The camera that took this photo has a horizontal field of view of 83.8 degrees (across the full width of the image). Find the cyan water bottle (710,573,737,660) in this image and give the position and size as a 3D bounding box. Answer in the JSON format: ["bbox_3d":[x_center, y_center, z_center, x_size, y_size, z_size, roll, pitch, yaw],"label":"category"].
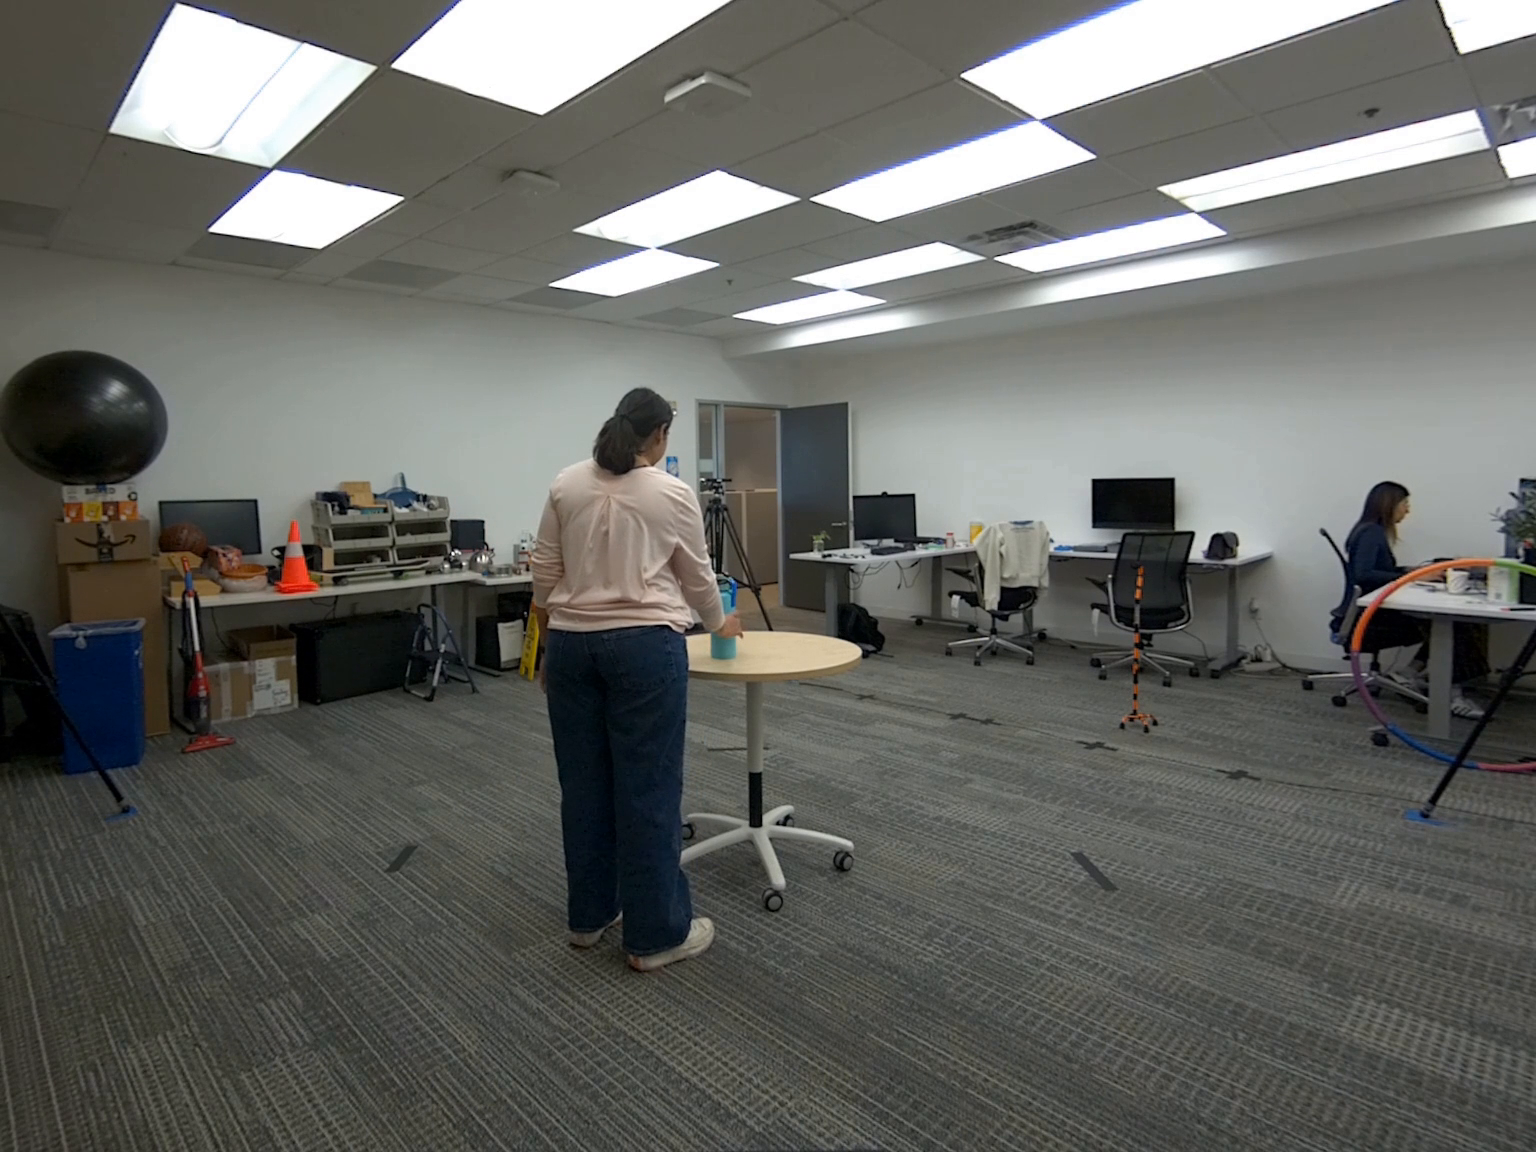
[{"bbox_3d":[-0.151,0.137,2.940,0.092,0.282,0.093,0,4,-2],"label":"cyan water bottle"}]
